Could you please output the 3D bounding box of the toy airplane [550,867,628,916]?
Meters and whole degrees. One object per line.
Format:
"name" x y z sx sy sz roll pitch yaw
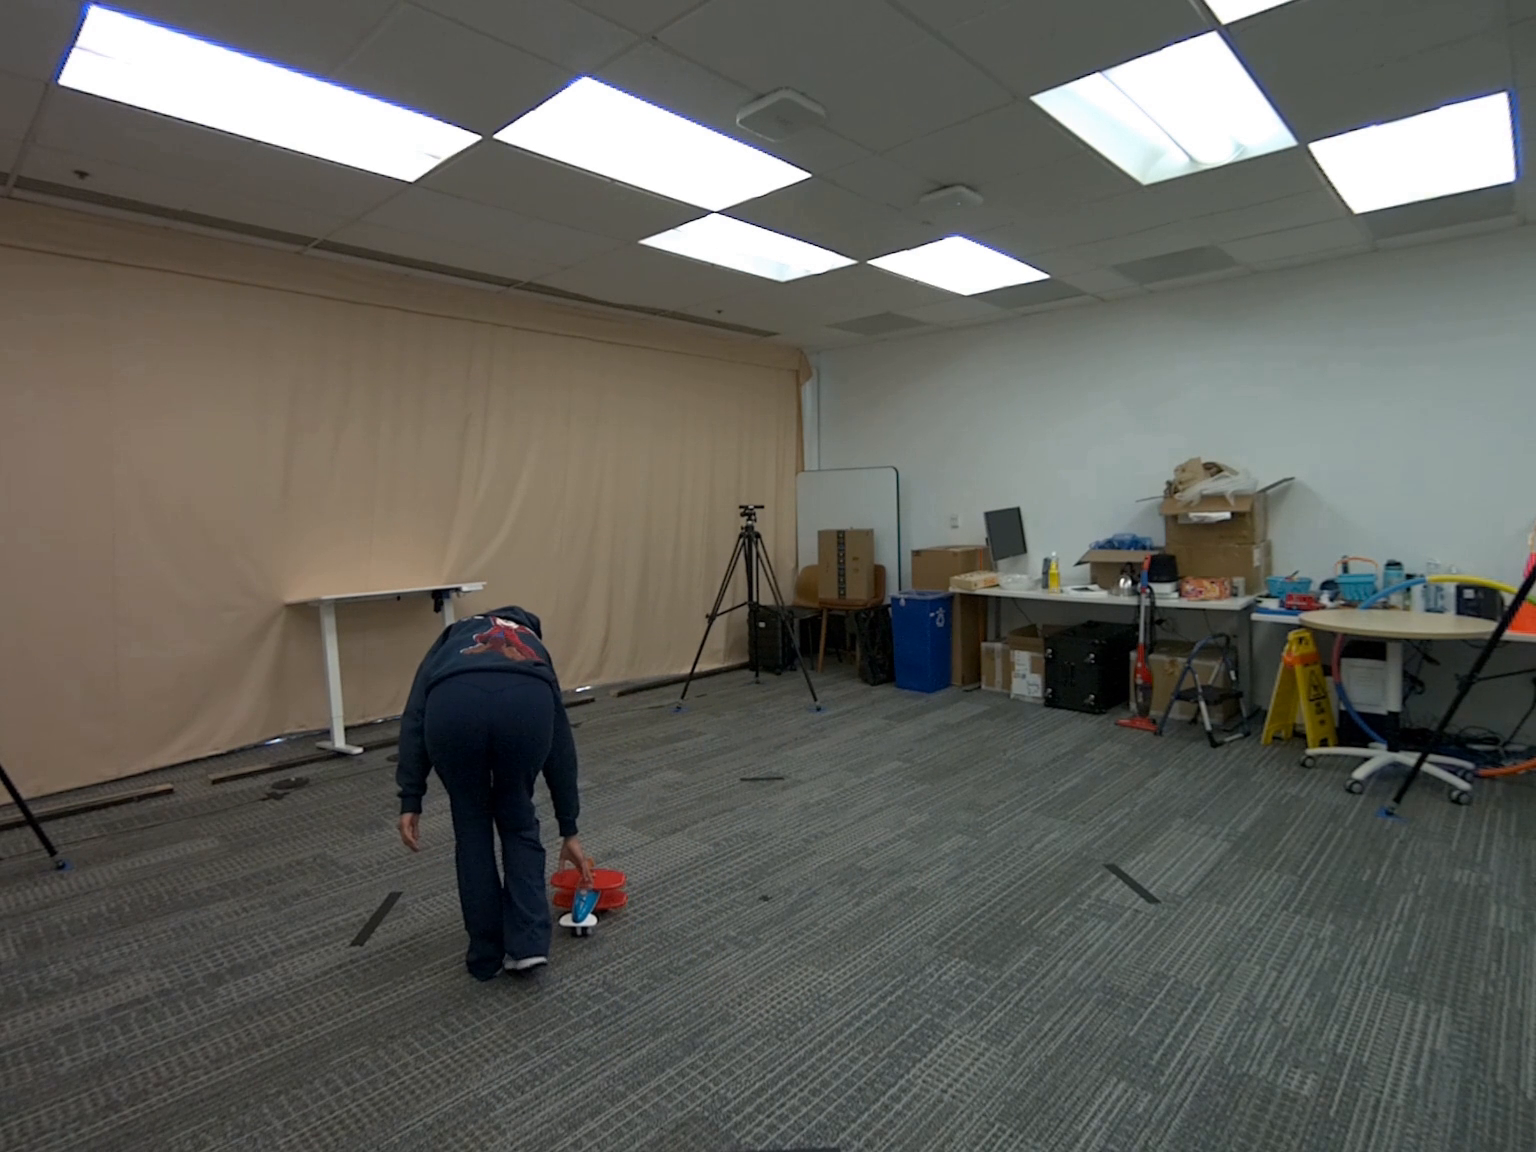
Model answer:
"toy airplane" -0.593 1.095 2.835 0.246 0.156 0.265 -3 4 -23
